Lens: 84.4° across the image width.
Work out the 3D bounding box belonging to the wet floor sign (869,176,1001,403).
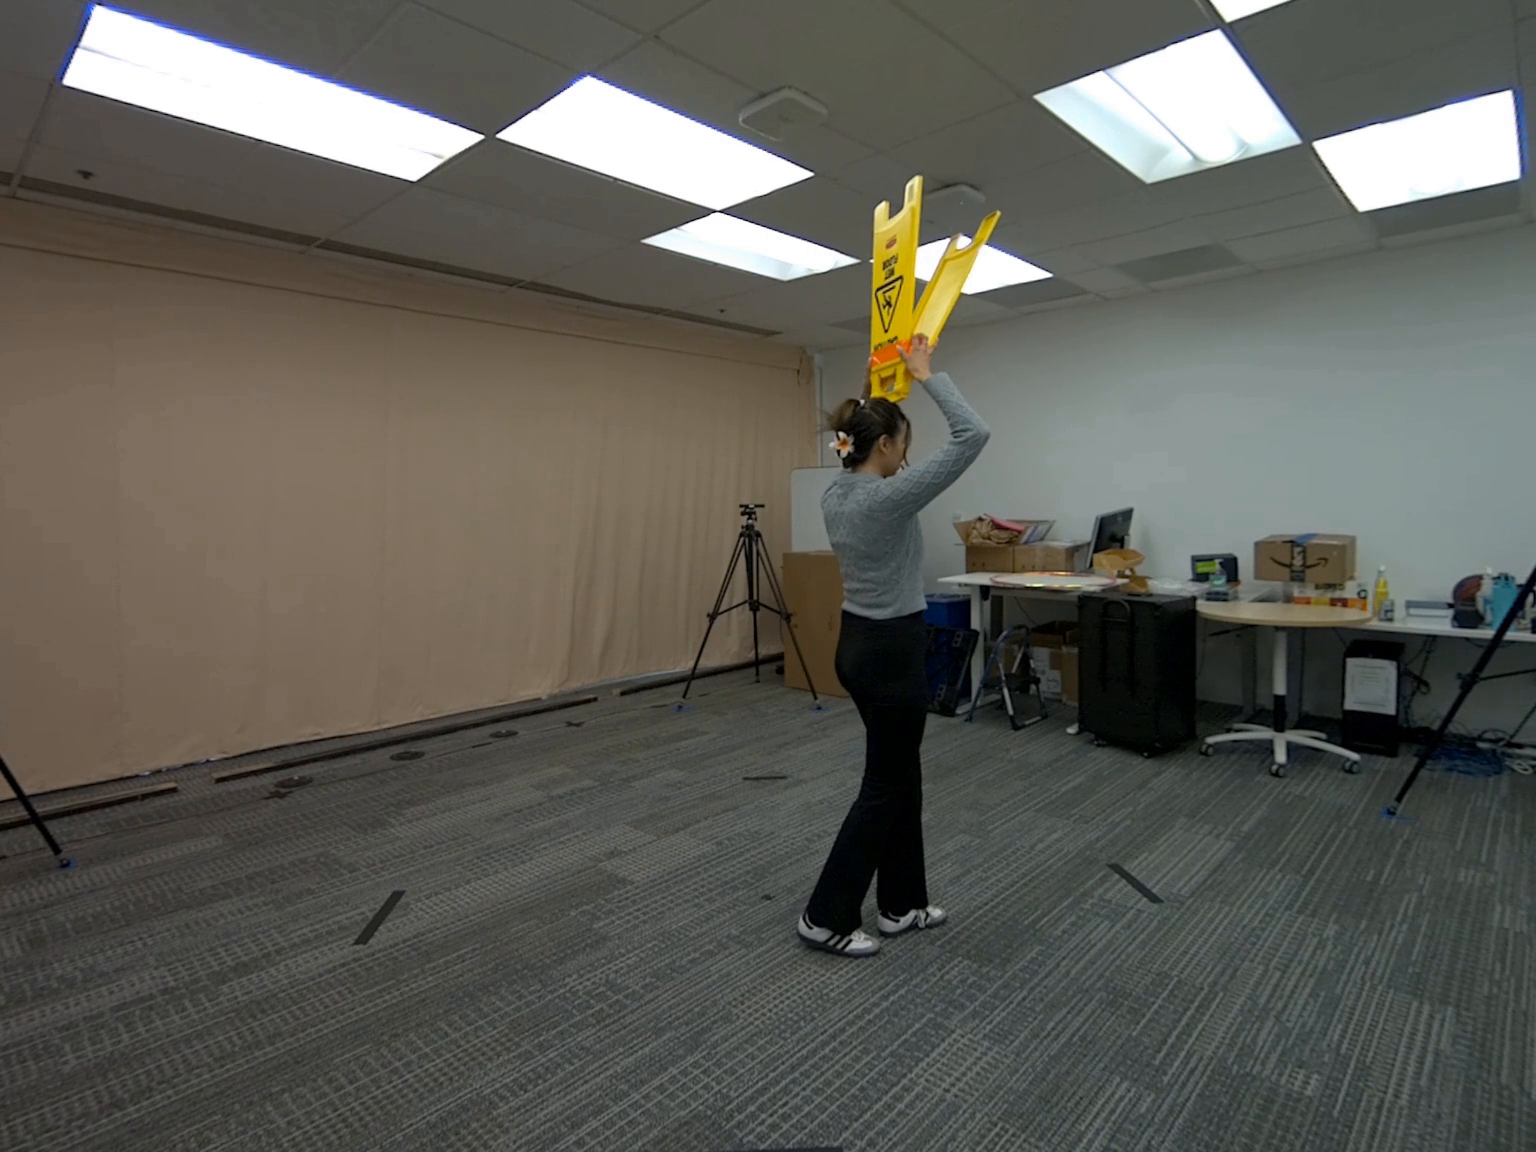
[{"bbox_3d":[0.455,-0.852,2.652,0.284,0.647,0.287,17,-4,-17],"label":"wet floor sign"}]
